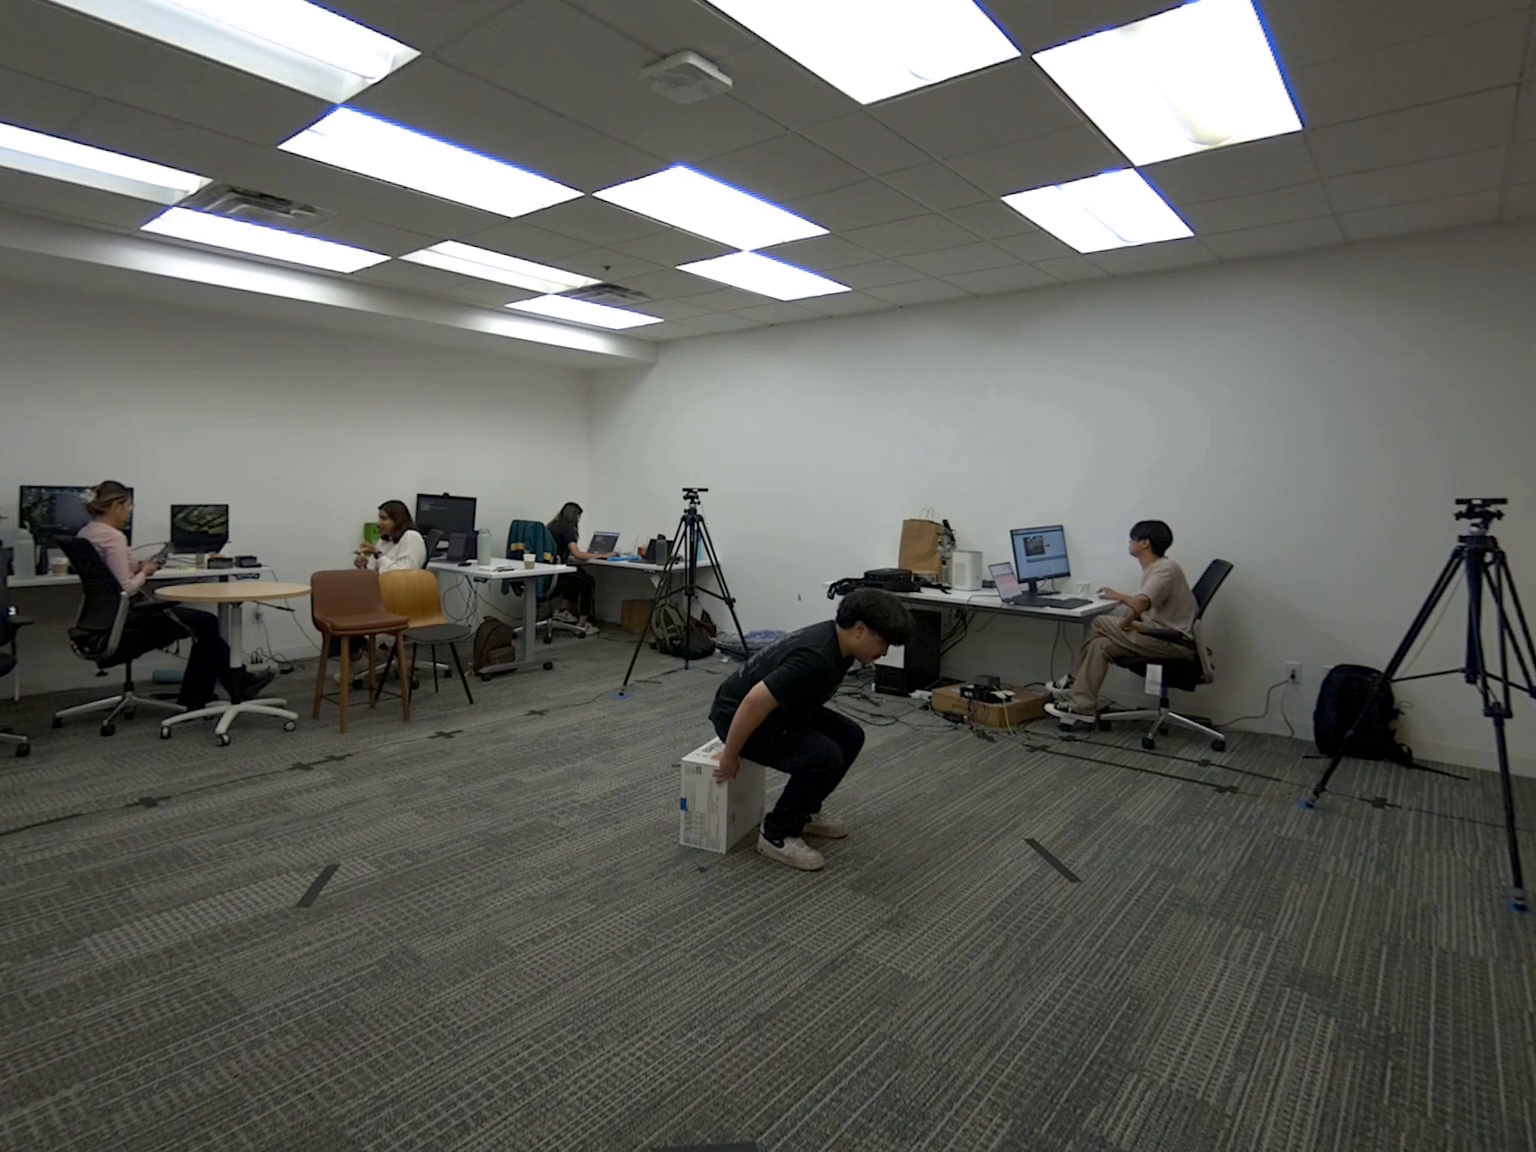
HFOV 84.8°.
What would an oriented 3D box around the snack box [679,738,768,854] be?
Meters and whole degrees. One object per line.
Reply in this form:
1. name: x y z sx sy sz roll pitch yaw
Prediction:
1. snack box: -0.189 0.871 3.456 0.210 0.339 0.397 0 5 22
